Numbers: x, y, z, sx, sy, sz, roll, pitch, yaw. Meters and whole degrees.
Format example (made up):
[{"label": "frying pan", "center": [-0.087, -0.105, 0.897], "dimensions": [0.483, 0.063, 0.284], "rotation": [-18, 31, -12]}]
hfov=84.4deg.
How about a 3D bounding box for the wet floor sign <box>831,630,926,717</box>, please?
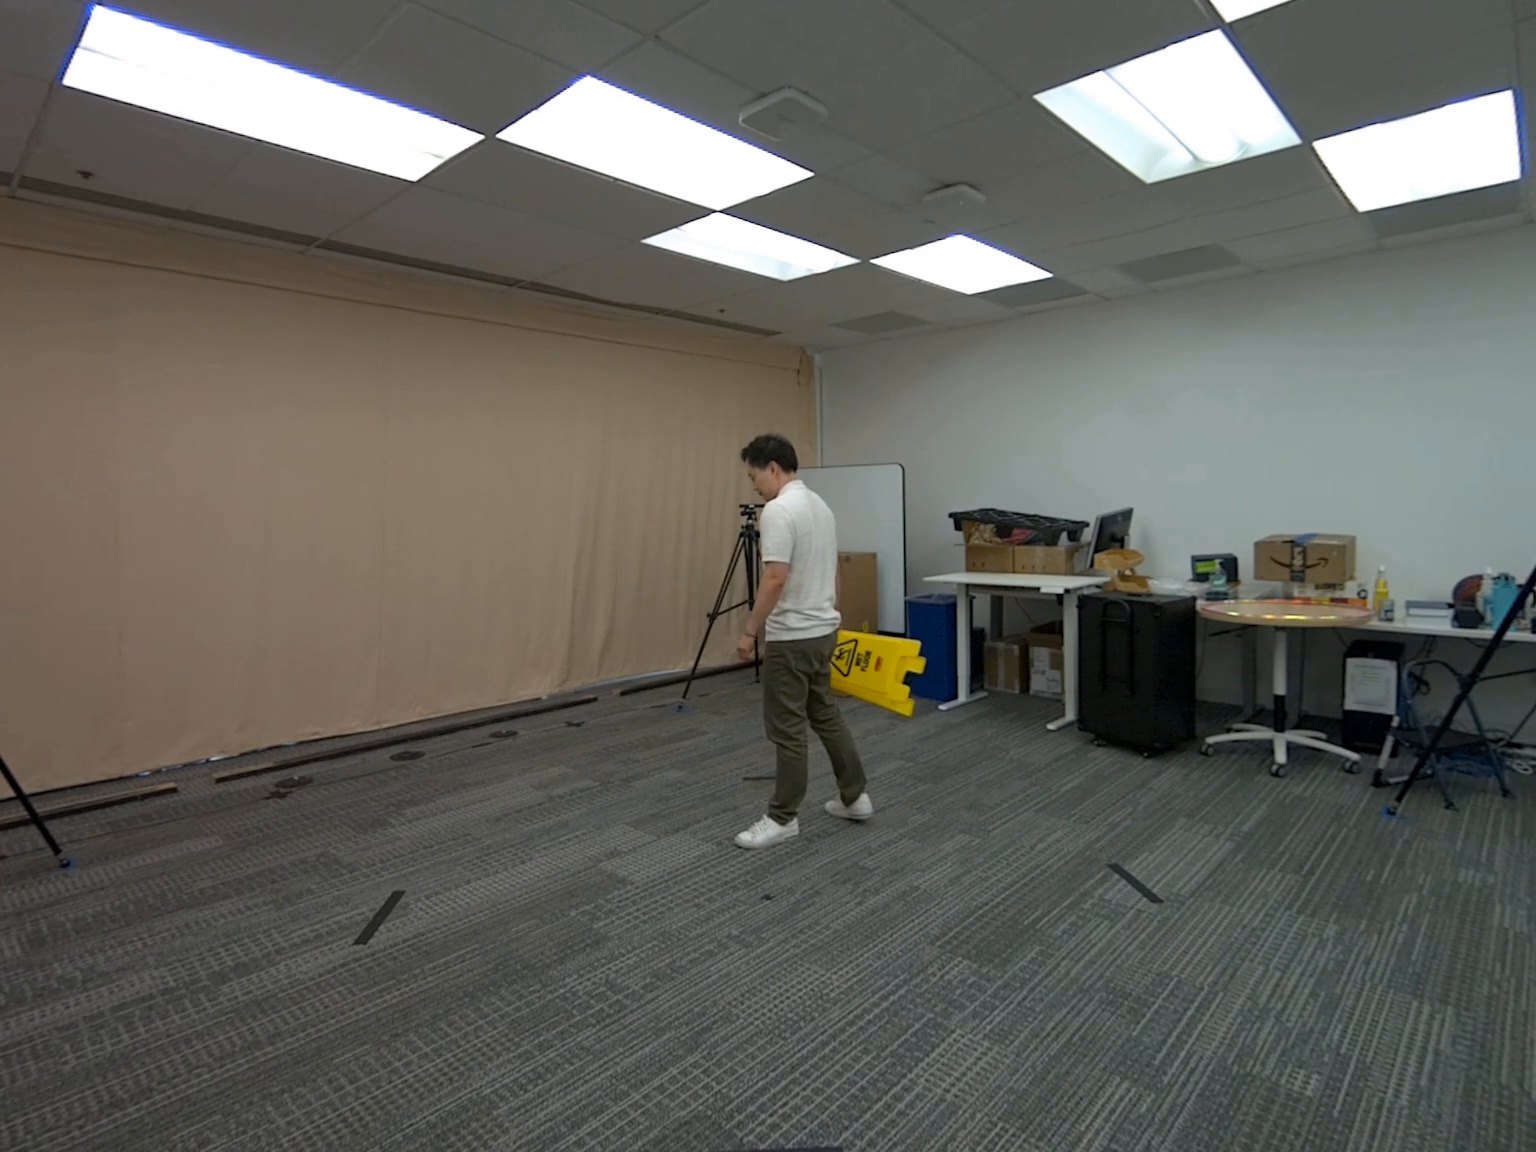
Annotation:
[{"label": "wet floor sign", "center": [0.358, 0.398, 3.868], "dimensions": [0.662, 0.283, 0.282], "rotation": [14, -16, 21]}]
